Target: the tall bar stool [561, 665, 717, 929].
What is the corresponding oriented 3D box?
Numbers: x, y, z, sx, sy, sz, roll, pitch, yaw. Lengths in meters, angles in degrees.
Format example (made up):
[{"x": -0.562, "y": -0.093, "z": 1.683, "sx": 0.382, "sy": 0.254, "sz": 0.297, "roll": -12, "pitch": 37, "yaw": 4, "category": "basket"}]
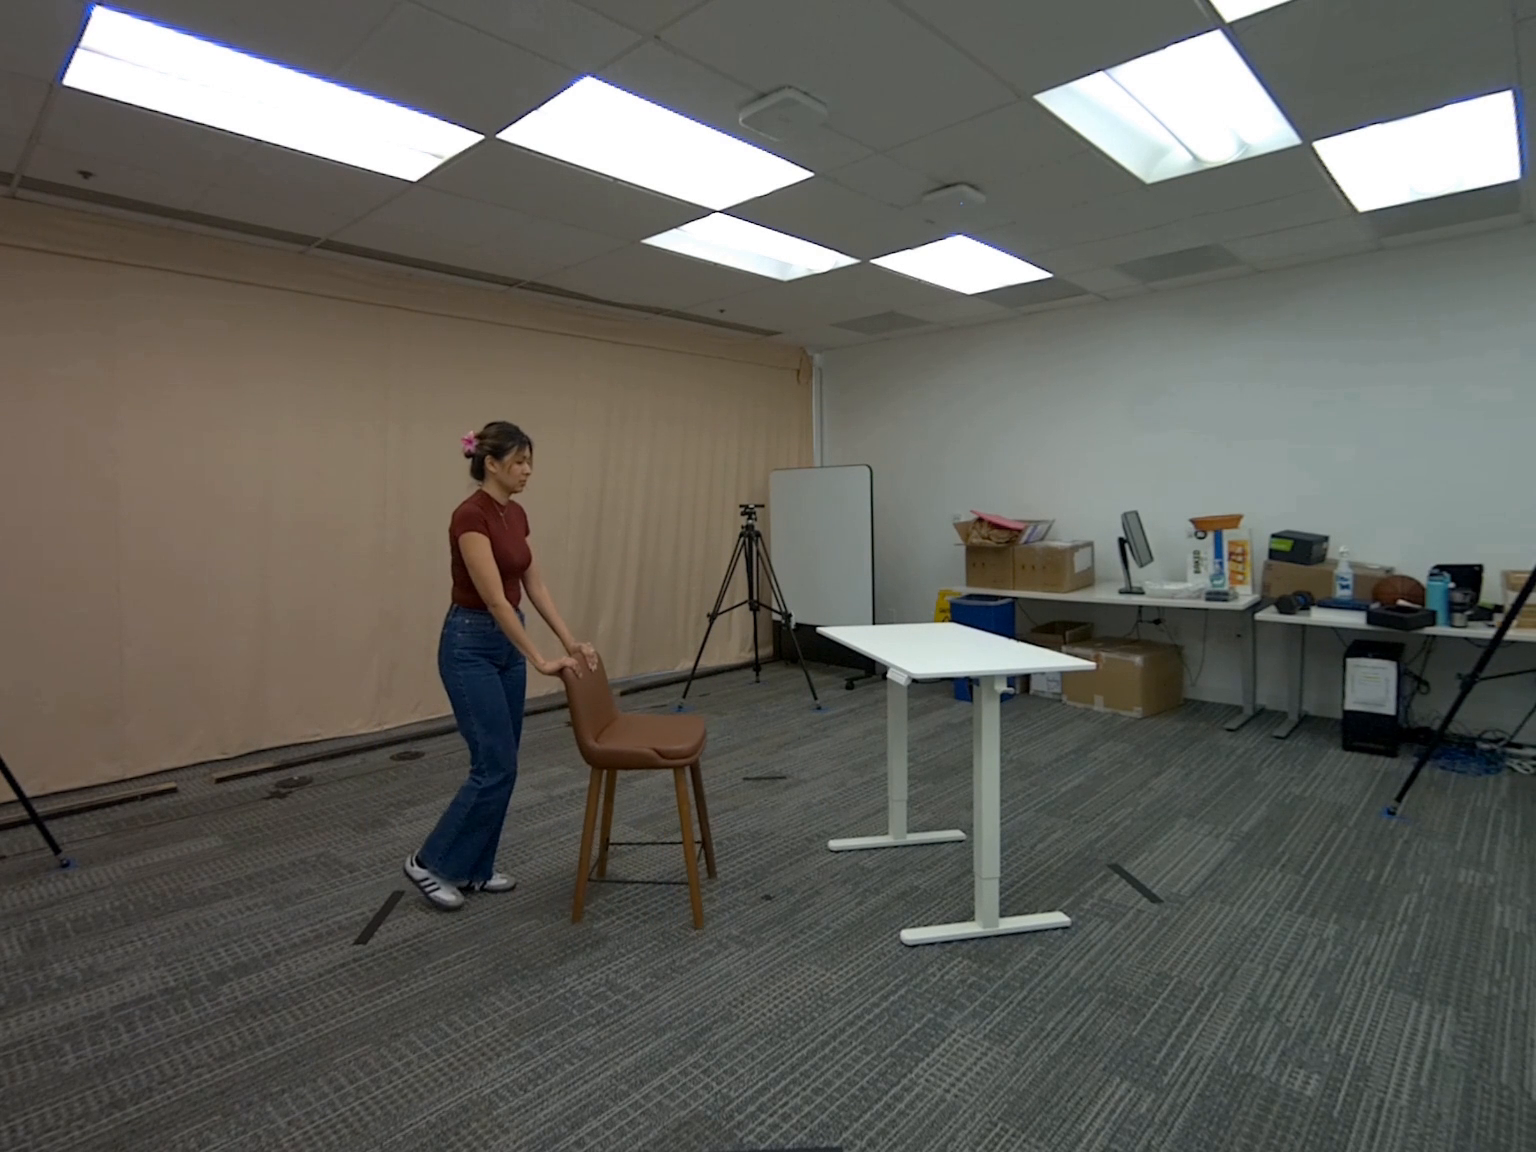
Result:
[{"x": -0.445, "y": 0.713, "z": 2.961, "sx": 0.471, "sy": 0.888, "sz": 0.455, "roll": -3, "pitch": 3, "yaw": 5, "category": "tall bar stool"}]
